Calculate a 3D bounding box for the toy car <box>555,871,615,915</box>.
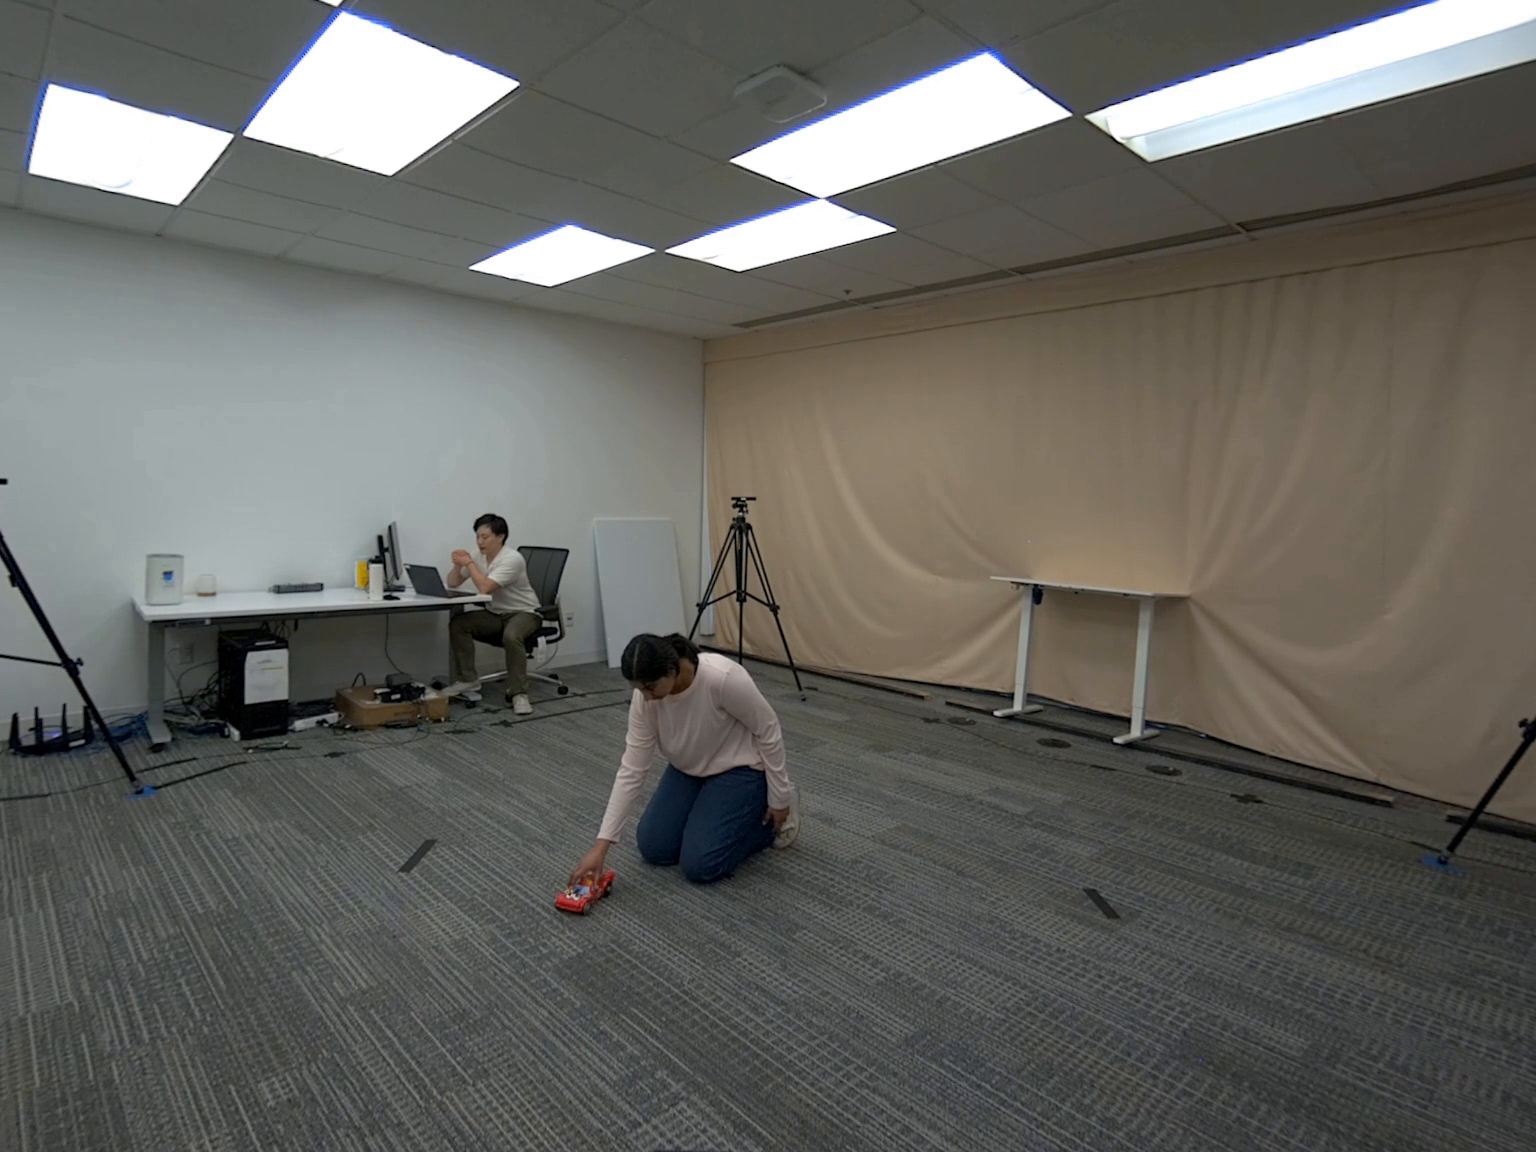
[{"bbox_3d":[-0.631,1.087,2.897,0.132,0.082,0.253,2,16,19],"label":"toy car"}]
